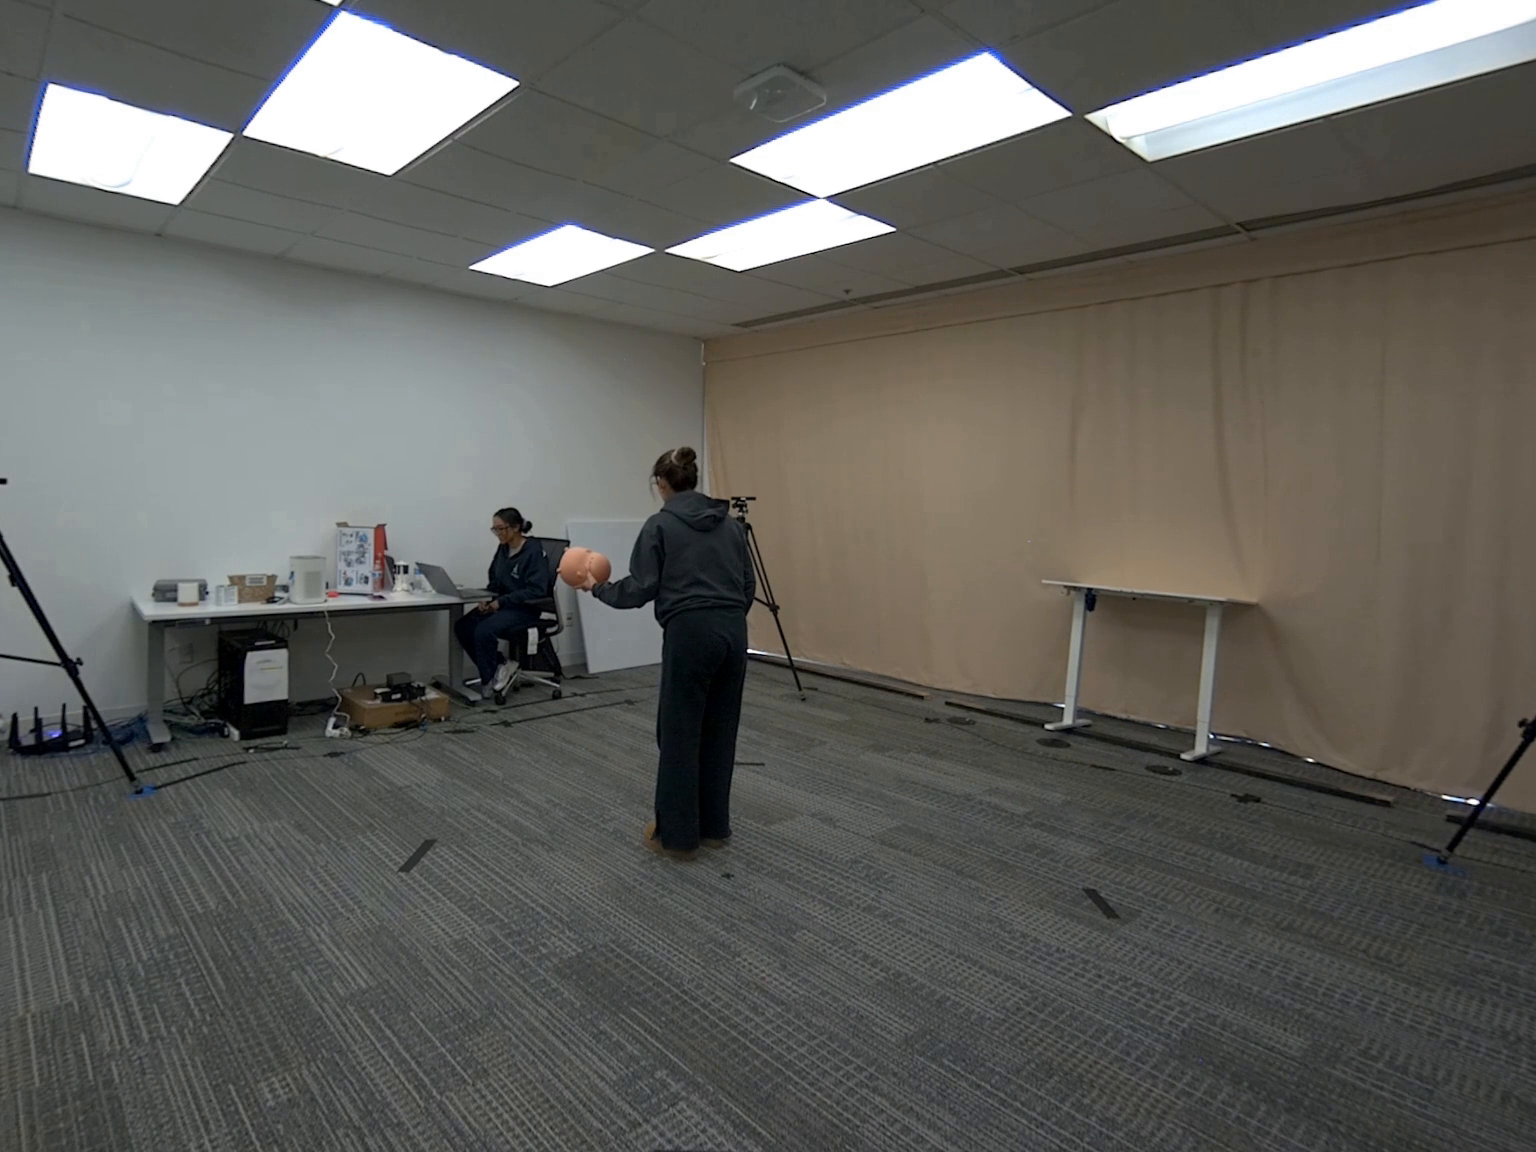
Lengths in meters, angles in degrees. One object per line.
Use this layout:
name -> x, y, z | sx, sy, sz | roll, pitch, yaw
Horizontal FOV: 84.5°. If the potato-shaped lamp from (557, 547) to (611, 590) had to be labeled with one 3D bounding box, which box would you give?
potato-shaped lamp -> -0.752, -0.032, 3.469 | 0.201, 0.167, 0.166 | 3, -31, 18
